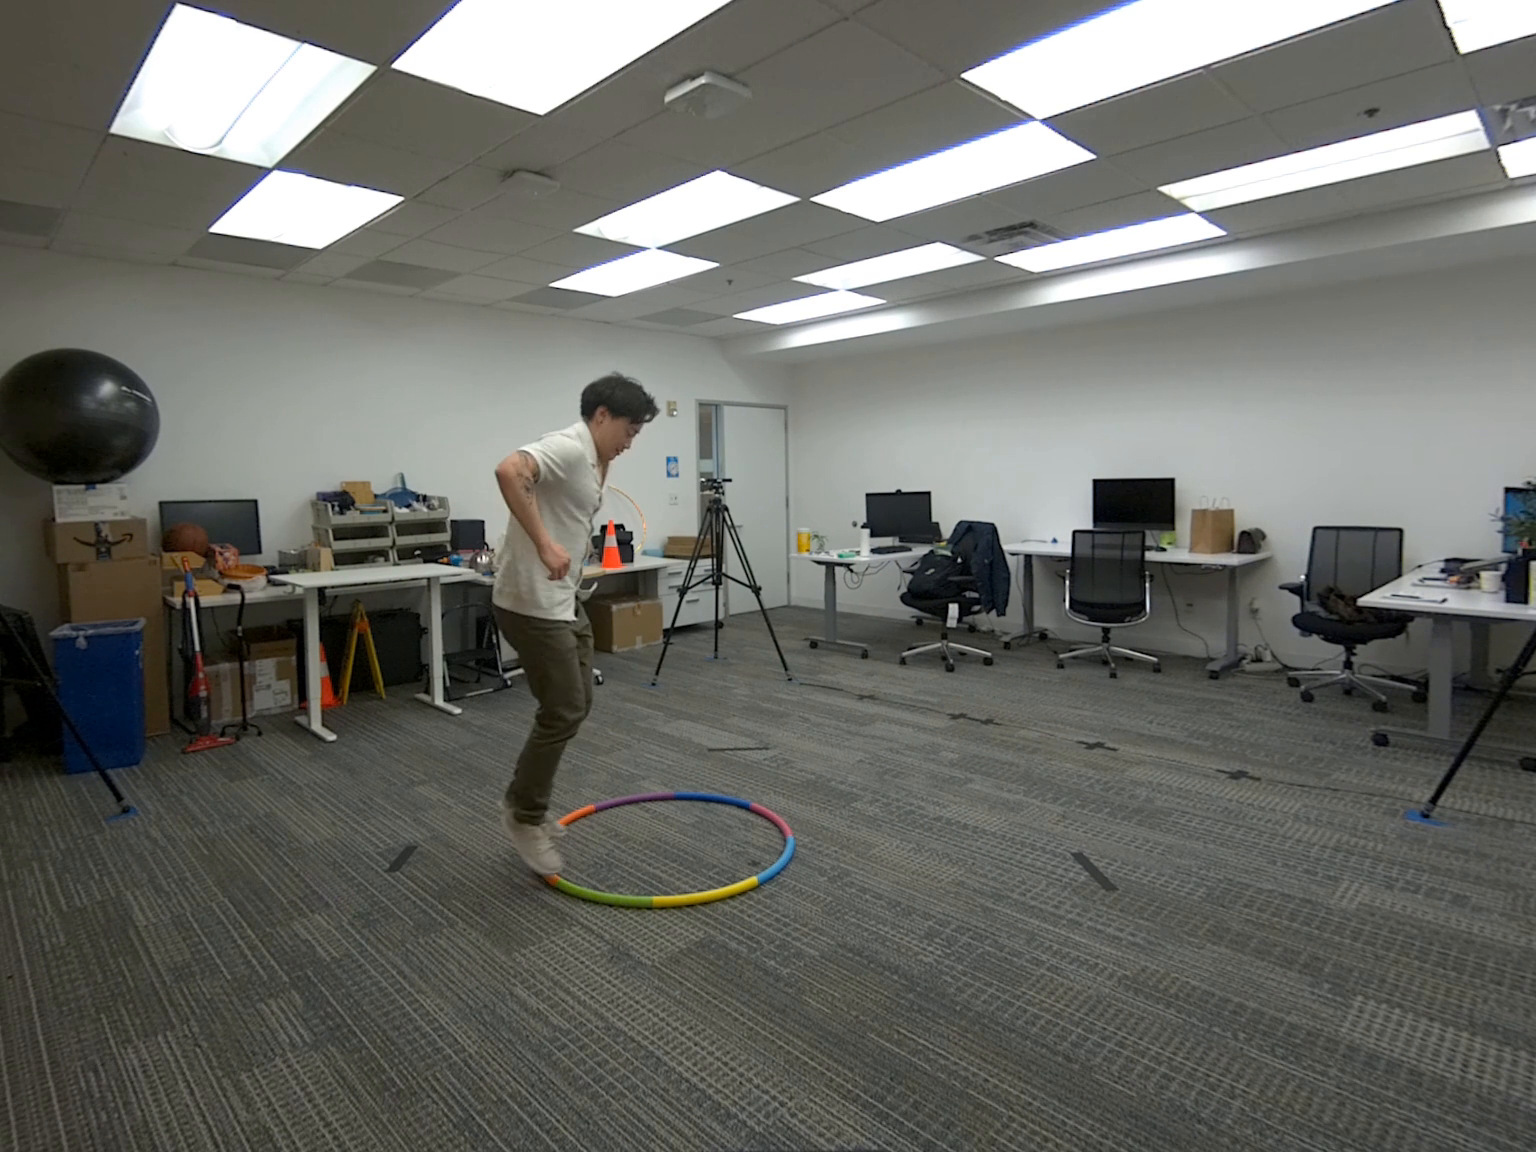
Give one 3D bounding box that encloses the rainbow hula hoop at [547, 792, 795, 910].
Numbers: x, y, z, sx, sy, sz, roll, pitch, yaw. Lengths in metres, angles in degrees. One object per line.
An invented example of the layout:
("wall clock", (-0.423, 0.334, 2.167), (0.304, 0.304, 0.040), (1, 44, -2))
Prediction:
("rainbow hula hoop", (-0.388, 1.003, 3.273), (0.978, 0.035, 0.984), (-1, 6, -2))
